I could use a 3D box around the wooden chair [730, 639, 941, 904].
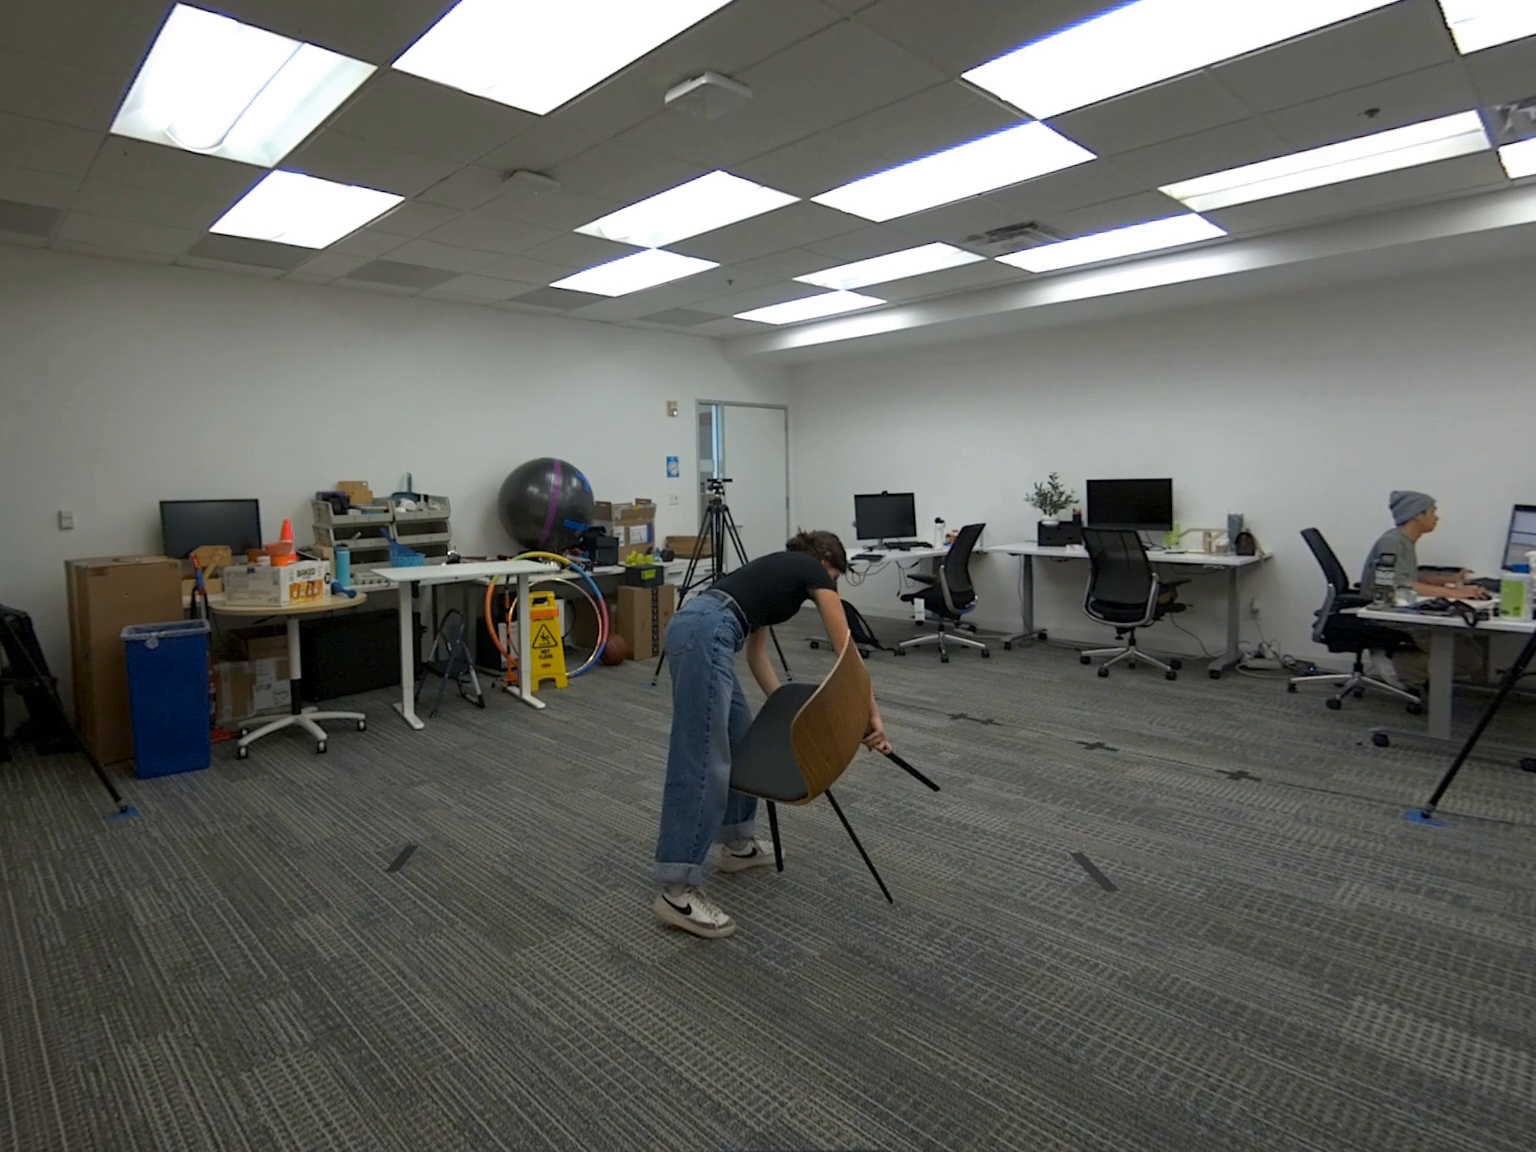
[{"bbox_3d":[0.138,0.566,2.801,0.538,0.849,0.480,2,42,37],"label":"wooden chair"}]
